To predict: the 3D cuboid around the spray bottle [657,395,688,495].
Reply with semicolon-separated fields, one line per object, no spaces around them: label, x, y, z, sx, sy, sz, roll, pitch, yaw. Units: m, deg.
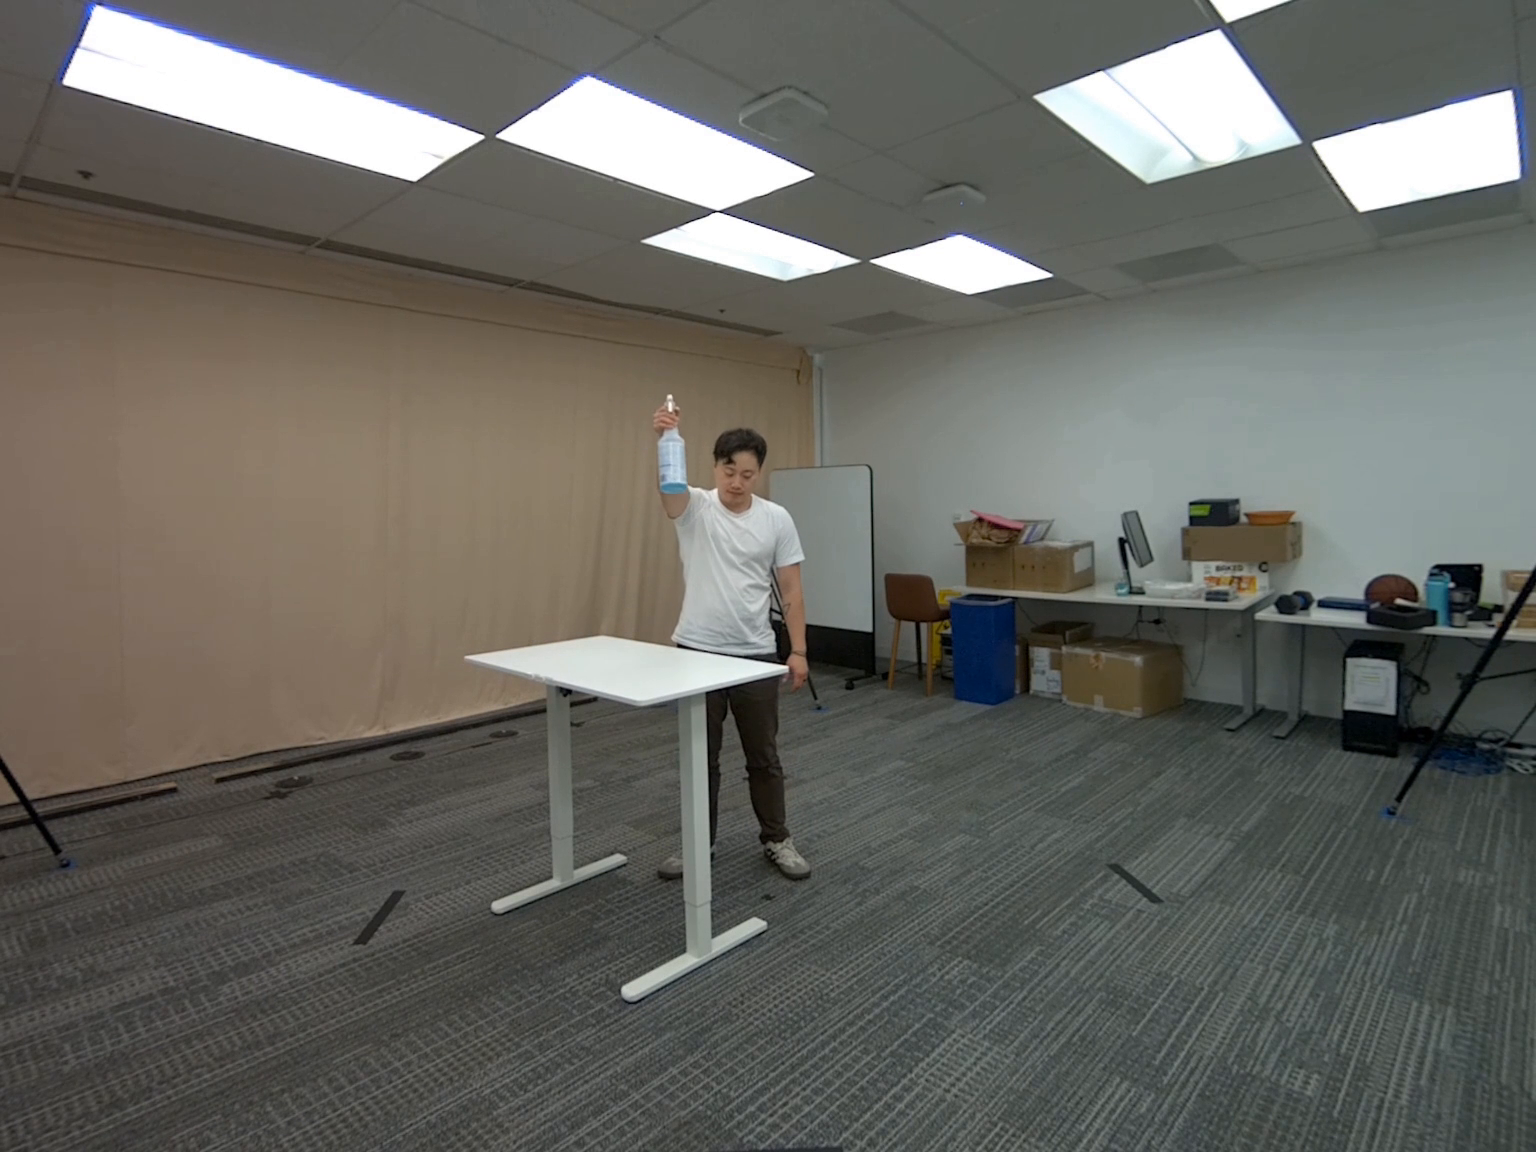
spray bottle;-0.301;-0.408;2.650;0.089;0.299;0.088;-6;-8;19
